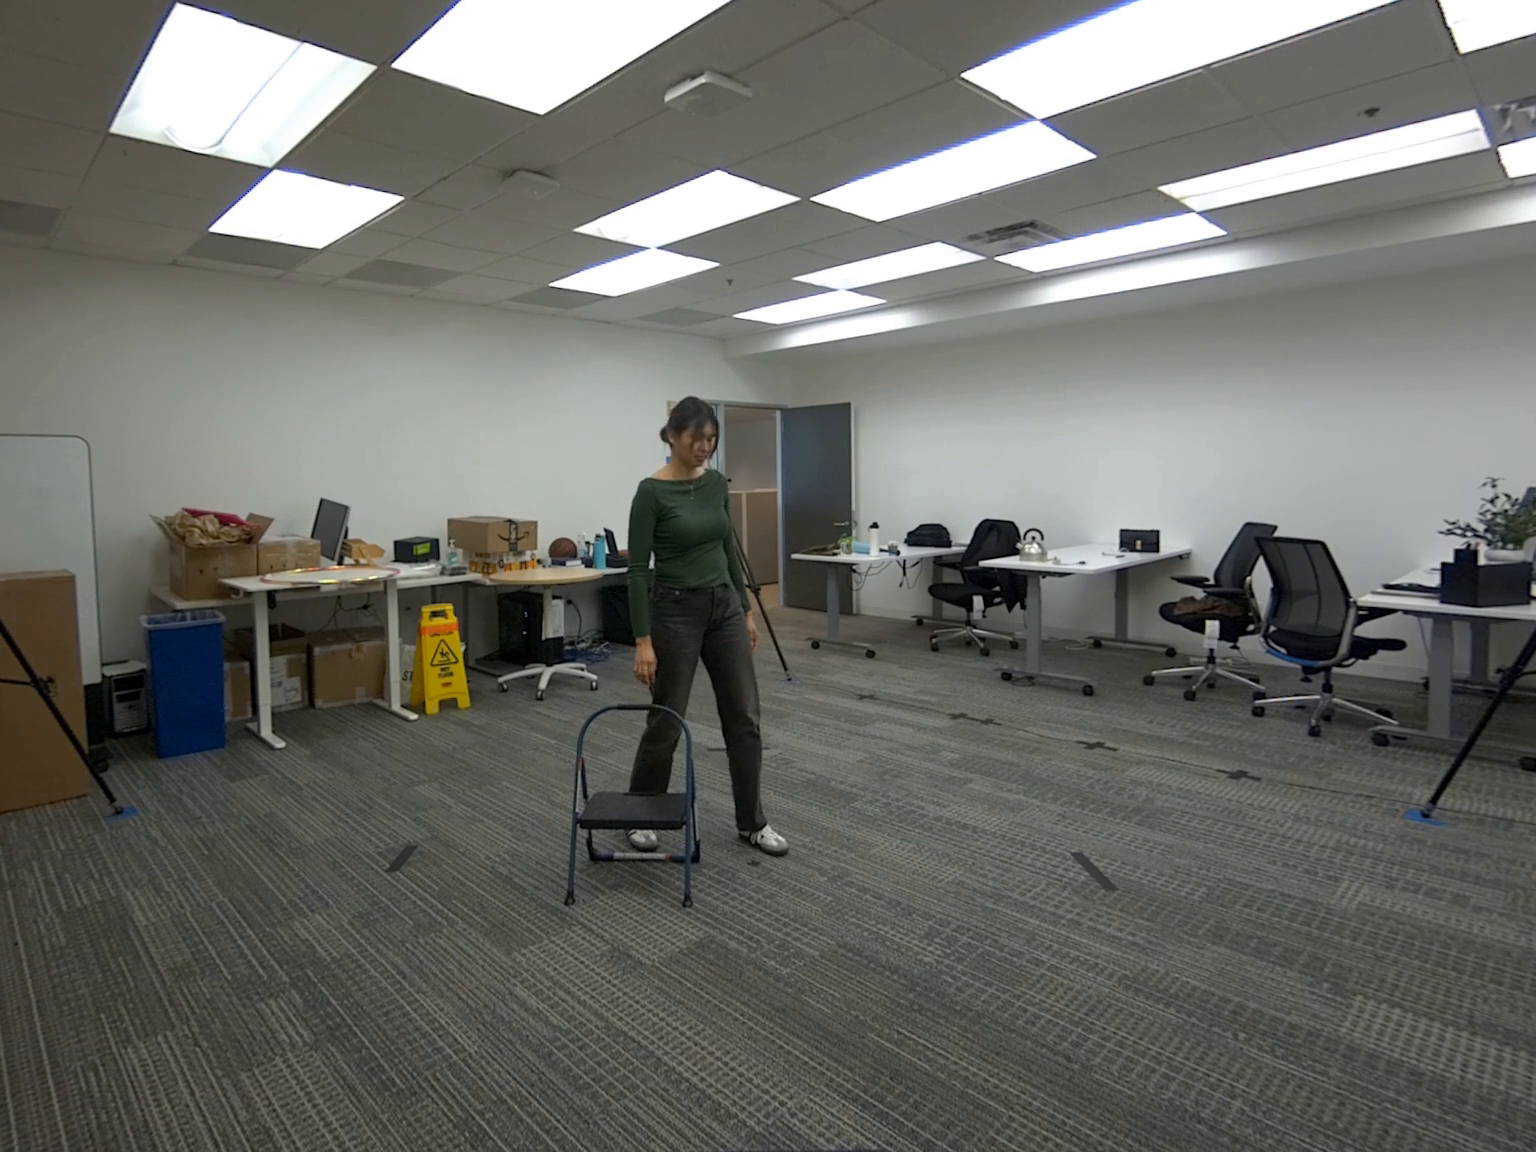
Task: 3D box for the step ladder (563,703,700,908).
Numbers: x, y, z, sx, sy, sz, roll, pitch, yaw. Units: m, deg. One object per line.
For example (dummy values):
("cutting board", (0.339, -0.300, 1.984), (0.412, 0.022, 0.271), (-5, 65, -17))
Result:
("step ladder", (-0.464, 0.765, 2.957), (0.432, 0.604, 0.349), (0, 5, 3))
